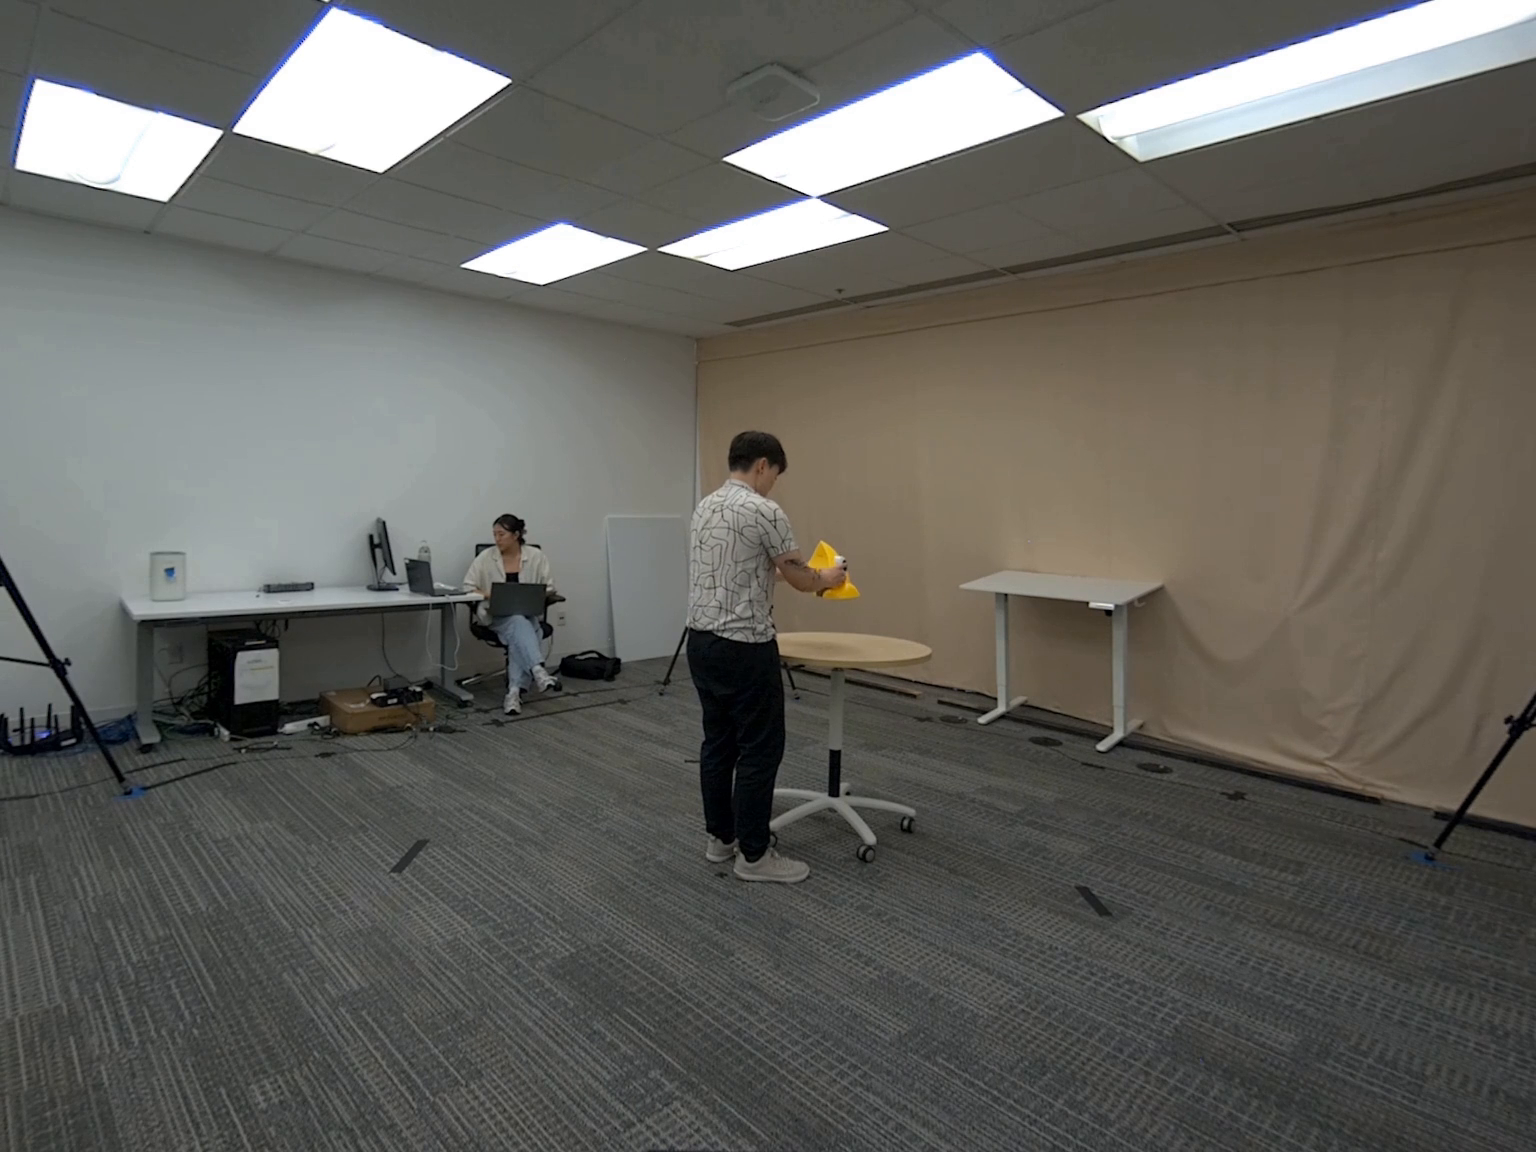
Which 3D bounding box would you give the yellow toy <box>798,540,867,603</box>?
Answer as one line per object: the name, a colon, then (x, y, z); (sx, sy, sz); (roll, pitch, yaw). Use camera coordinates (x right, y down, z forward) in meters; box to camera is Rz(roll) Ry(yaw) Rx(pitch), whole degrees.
yellow toy: (0.260, -0.026, 3.482); (0.189, 0.230, 0.209); (-3, 5, -30)
